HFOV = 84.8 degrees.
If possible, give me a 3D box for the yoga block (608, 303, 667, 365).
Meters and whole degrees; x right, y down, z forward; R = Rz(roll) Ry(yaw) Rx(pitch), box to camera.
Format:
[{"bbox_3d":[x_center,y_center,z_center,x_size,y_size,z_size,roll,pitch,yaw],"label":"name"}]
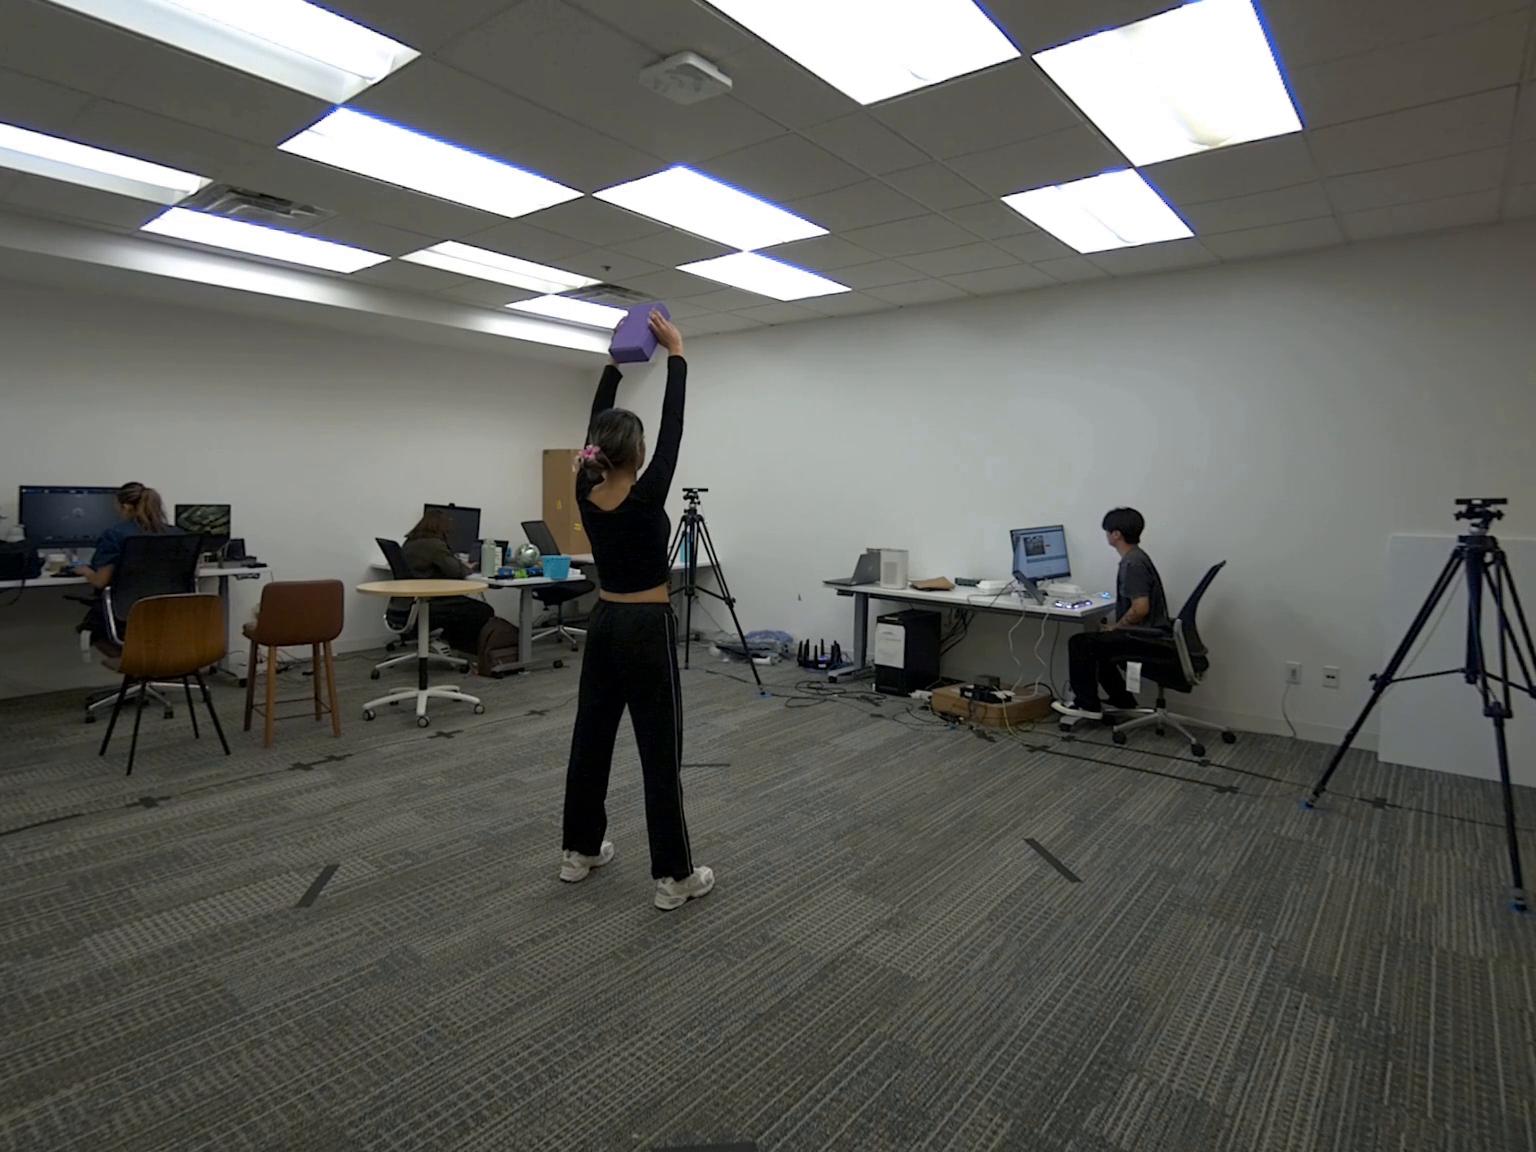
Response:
[{"bbox_3d":[-0.465,-0.863,3.013,0.153,0.232,0.073,3,-32,28],"label":"yoga block"}]
